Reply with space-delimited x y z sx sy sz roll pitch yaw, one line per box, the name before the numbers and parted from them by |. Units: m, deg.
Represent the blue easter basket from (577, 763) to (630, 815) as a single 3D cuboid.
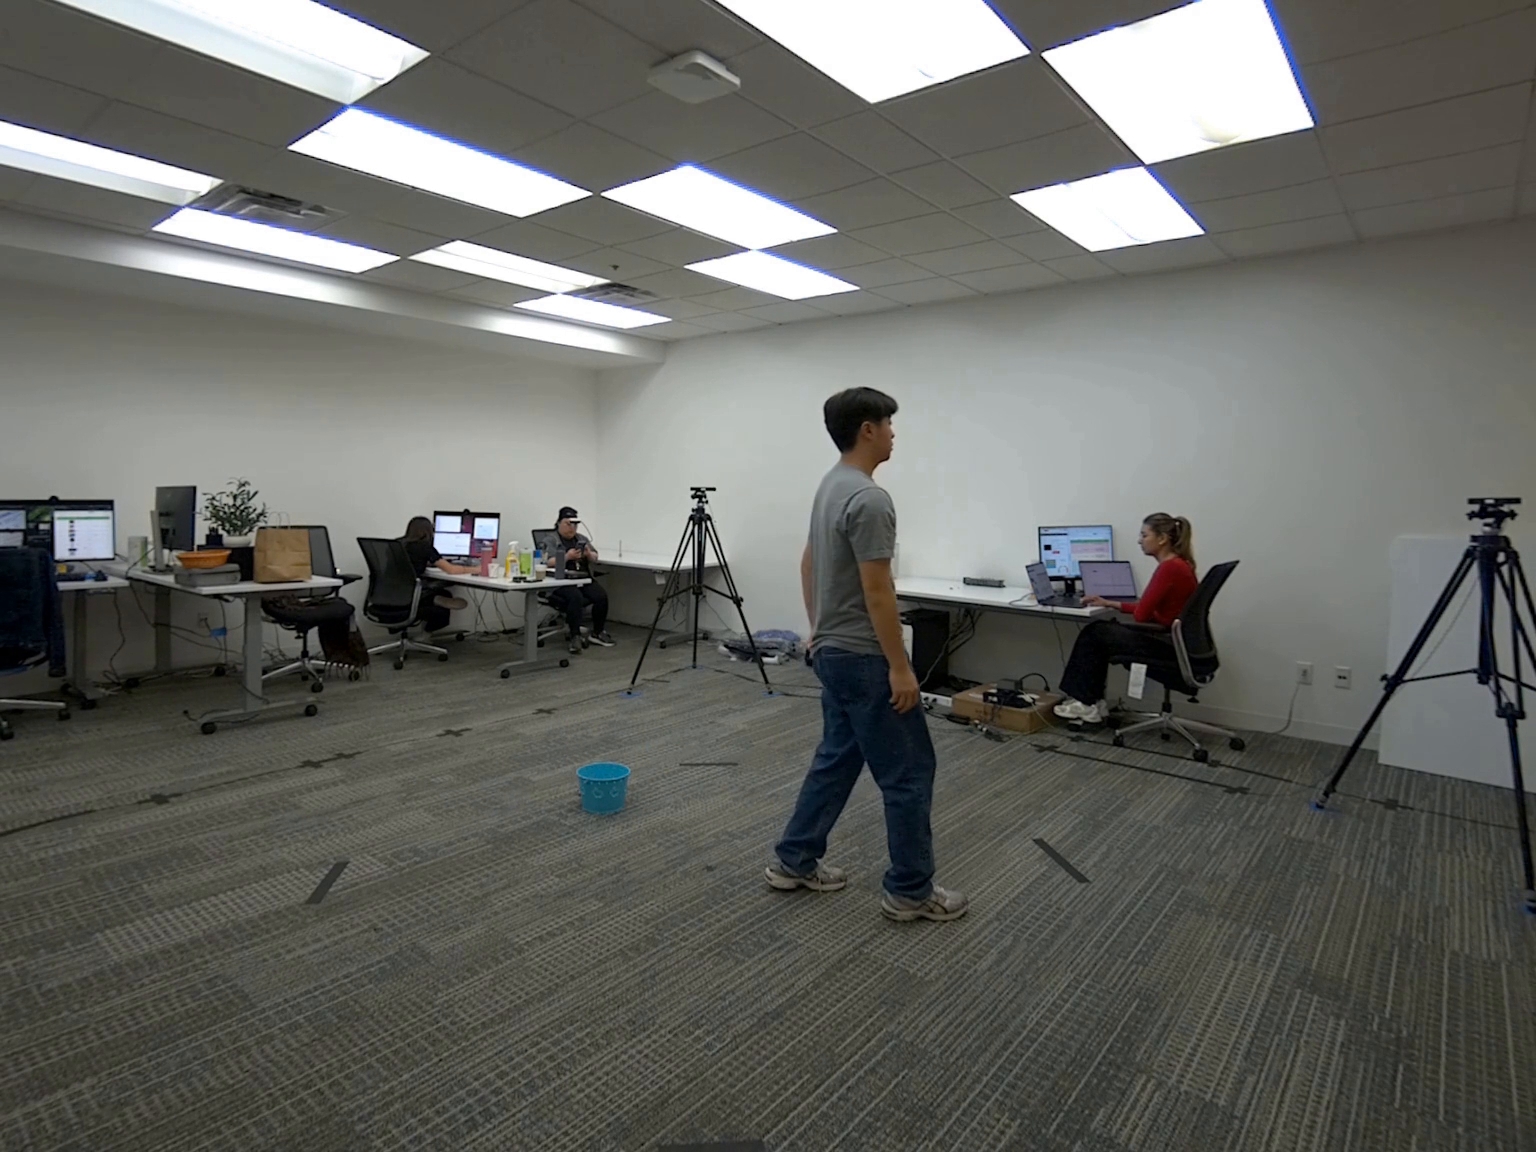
blue easter basket | -0.734 0.919 3.712 0.243 0.155 0.245 1 5 -2
